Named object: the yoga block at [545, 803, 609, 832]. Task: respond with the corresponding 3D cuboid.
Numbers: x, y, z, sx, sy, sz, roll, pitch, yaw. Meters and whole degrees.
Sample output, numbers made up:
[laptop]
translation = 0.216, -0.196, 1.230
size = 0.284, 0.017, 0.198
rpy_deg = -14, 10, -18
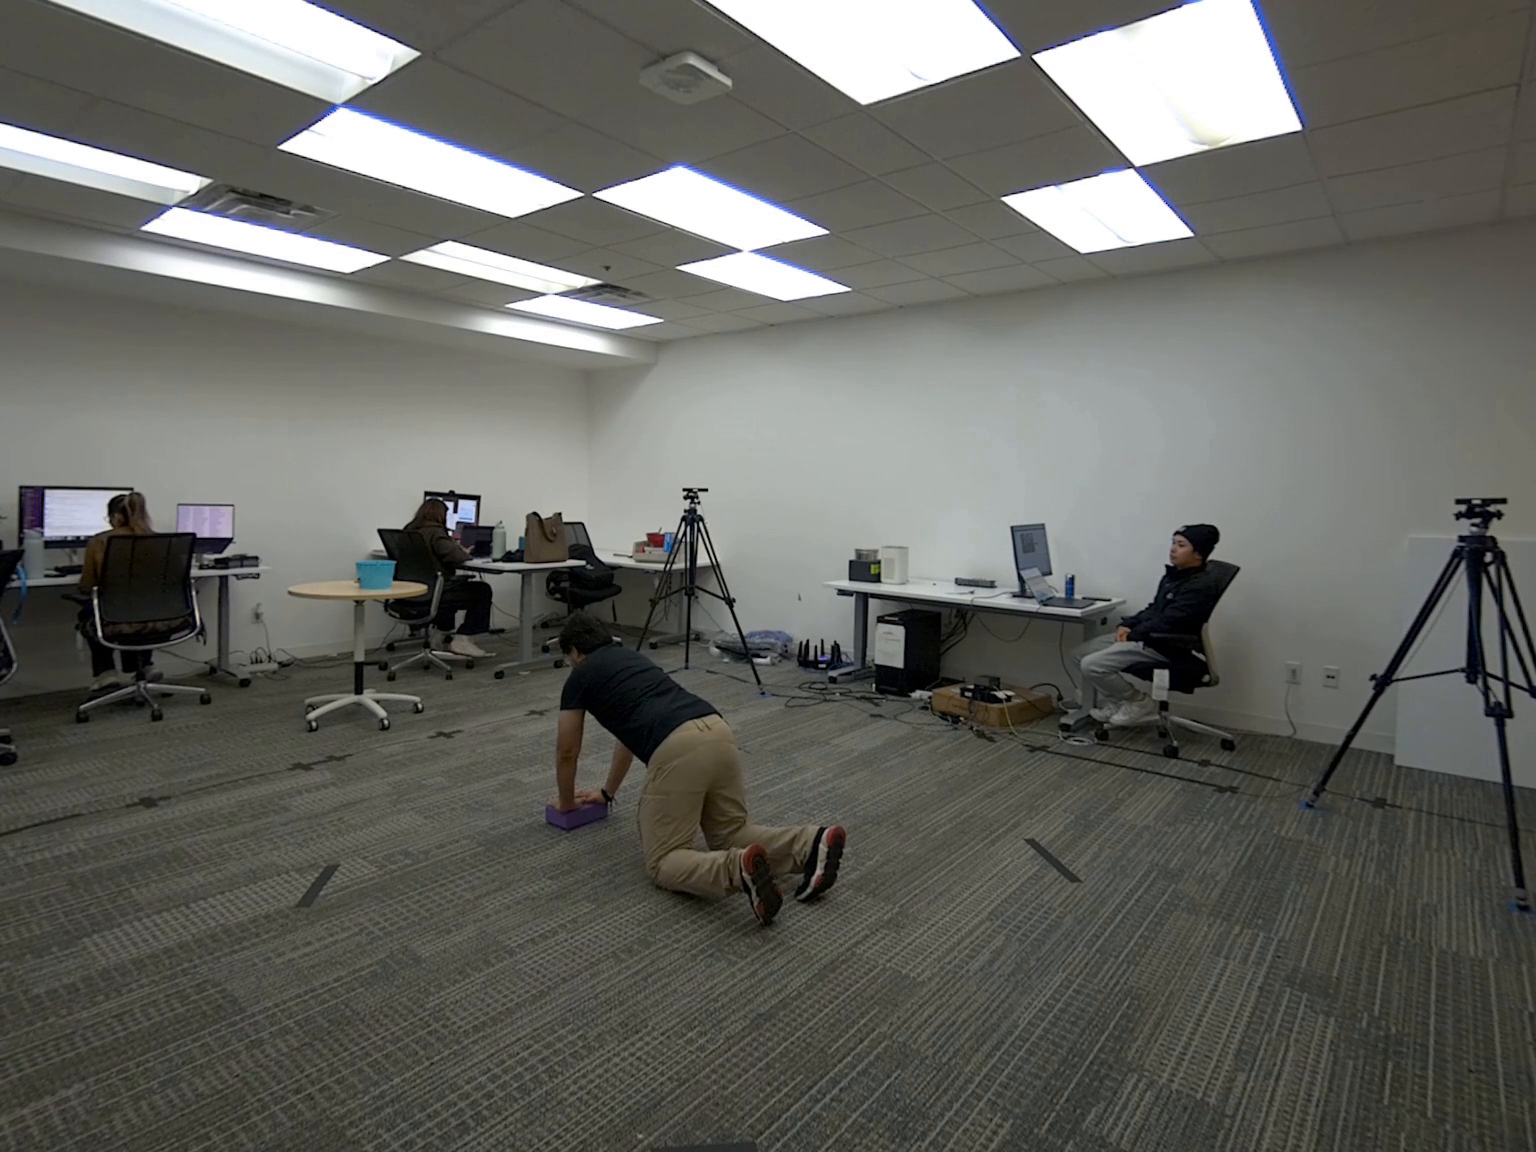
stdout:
[yoga block]
translation = -0.813, 0.975, 3.561
size = 0.154, 0.076, 0.223
rpy_deg = 2, 5, 38
